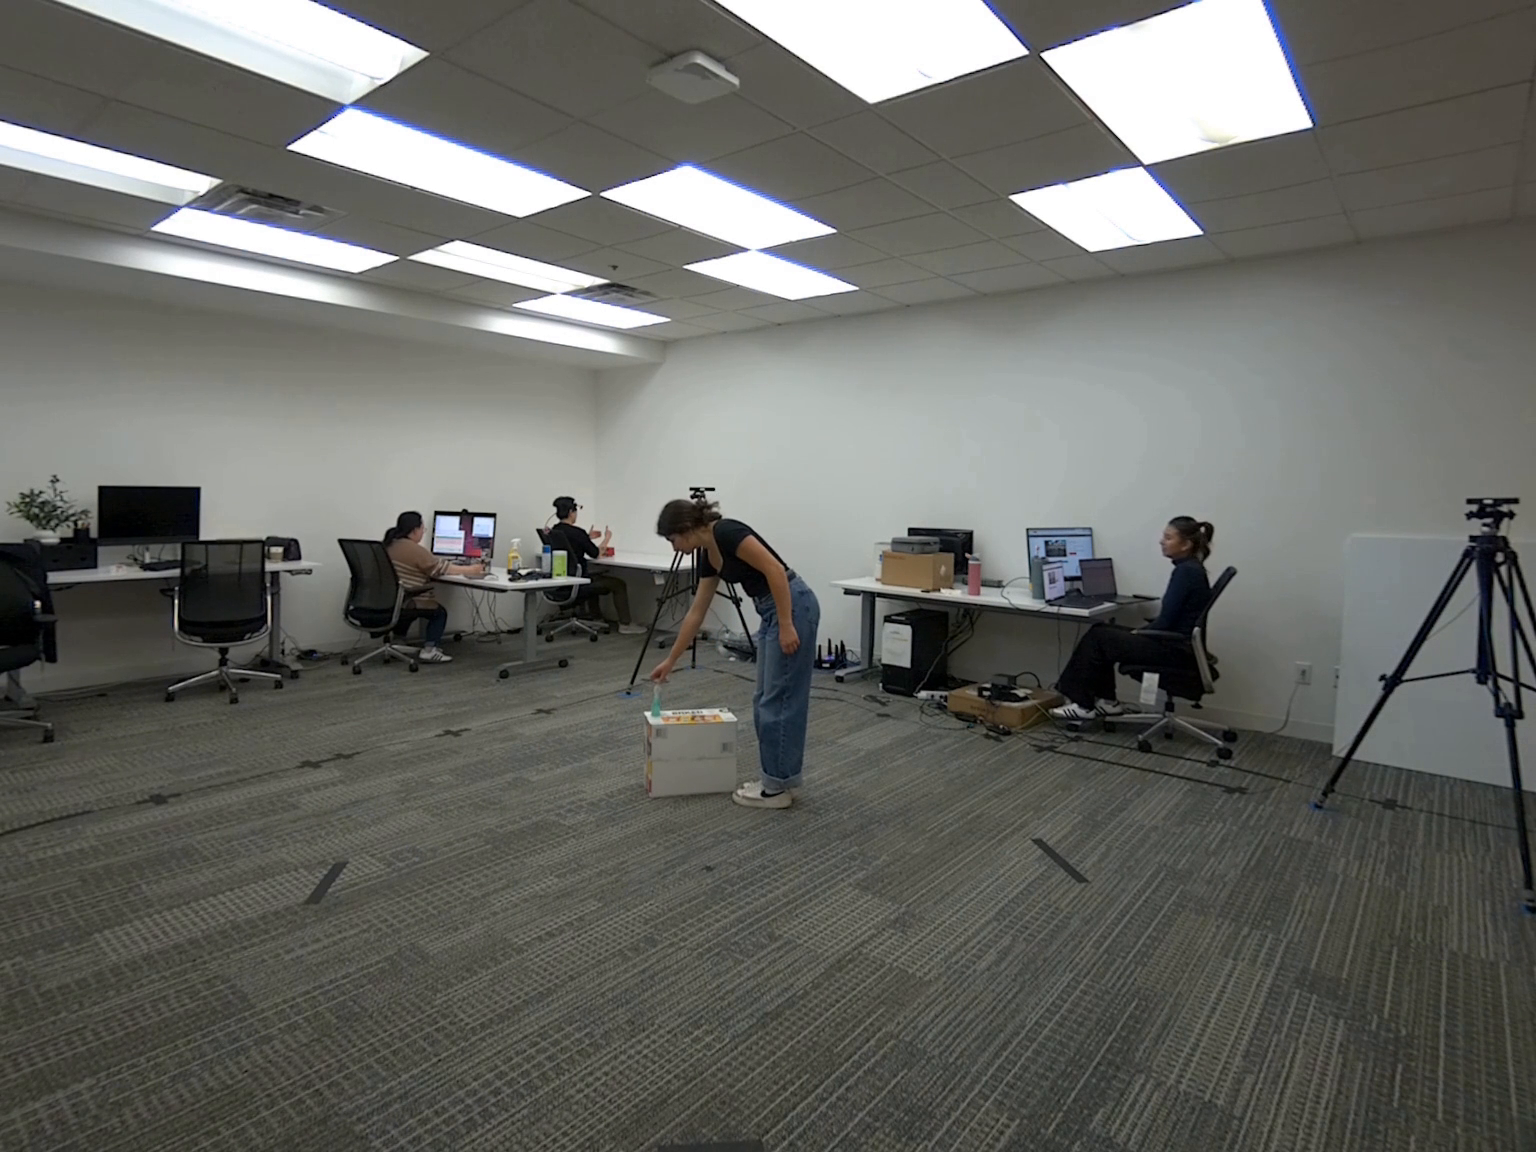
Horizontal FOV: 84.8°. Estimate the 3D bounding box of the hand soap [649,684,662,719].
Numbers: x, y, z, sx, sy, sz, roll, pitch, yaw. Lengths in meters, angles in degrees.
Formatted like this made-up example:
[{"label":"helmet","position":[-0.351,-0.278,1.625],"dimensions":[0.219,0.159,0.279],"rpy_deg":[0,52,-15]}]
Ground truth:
[{"label":"hand soap","position":[-0.522,0.565,3.951],"dimensions":[0.043,0.168,0.085],"rpy_deg":[8,0,-6]}]
